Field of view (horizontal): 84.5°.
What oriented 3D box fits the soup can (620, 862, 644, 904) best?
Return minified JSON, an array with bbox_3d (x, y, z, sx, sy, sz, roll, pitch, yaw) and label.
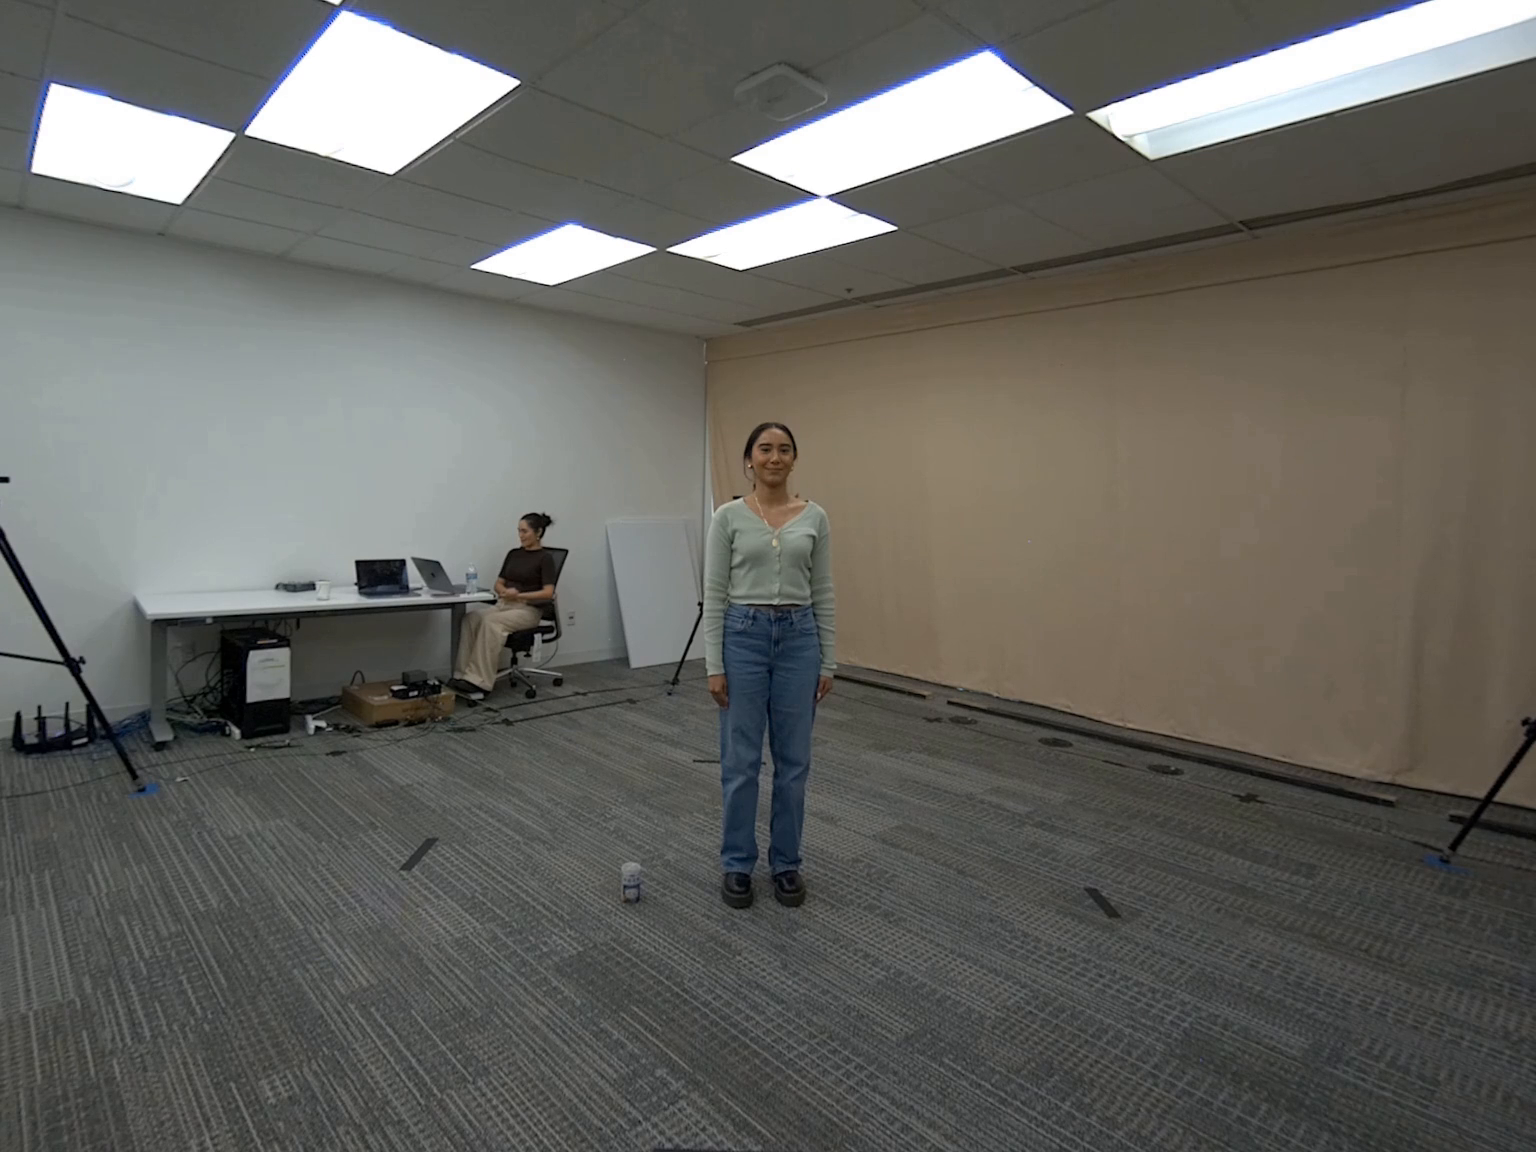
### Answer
[{"bbox_3d":[-0.478,1.059,2.887,0.067,0.121,0.067,2,2,-1],"label":"soup can"}]
